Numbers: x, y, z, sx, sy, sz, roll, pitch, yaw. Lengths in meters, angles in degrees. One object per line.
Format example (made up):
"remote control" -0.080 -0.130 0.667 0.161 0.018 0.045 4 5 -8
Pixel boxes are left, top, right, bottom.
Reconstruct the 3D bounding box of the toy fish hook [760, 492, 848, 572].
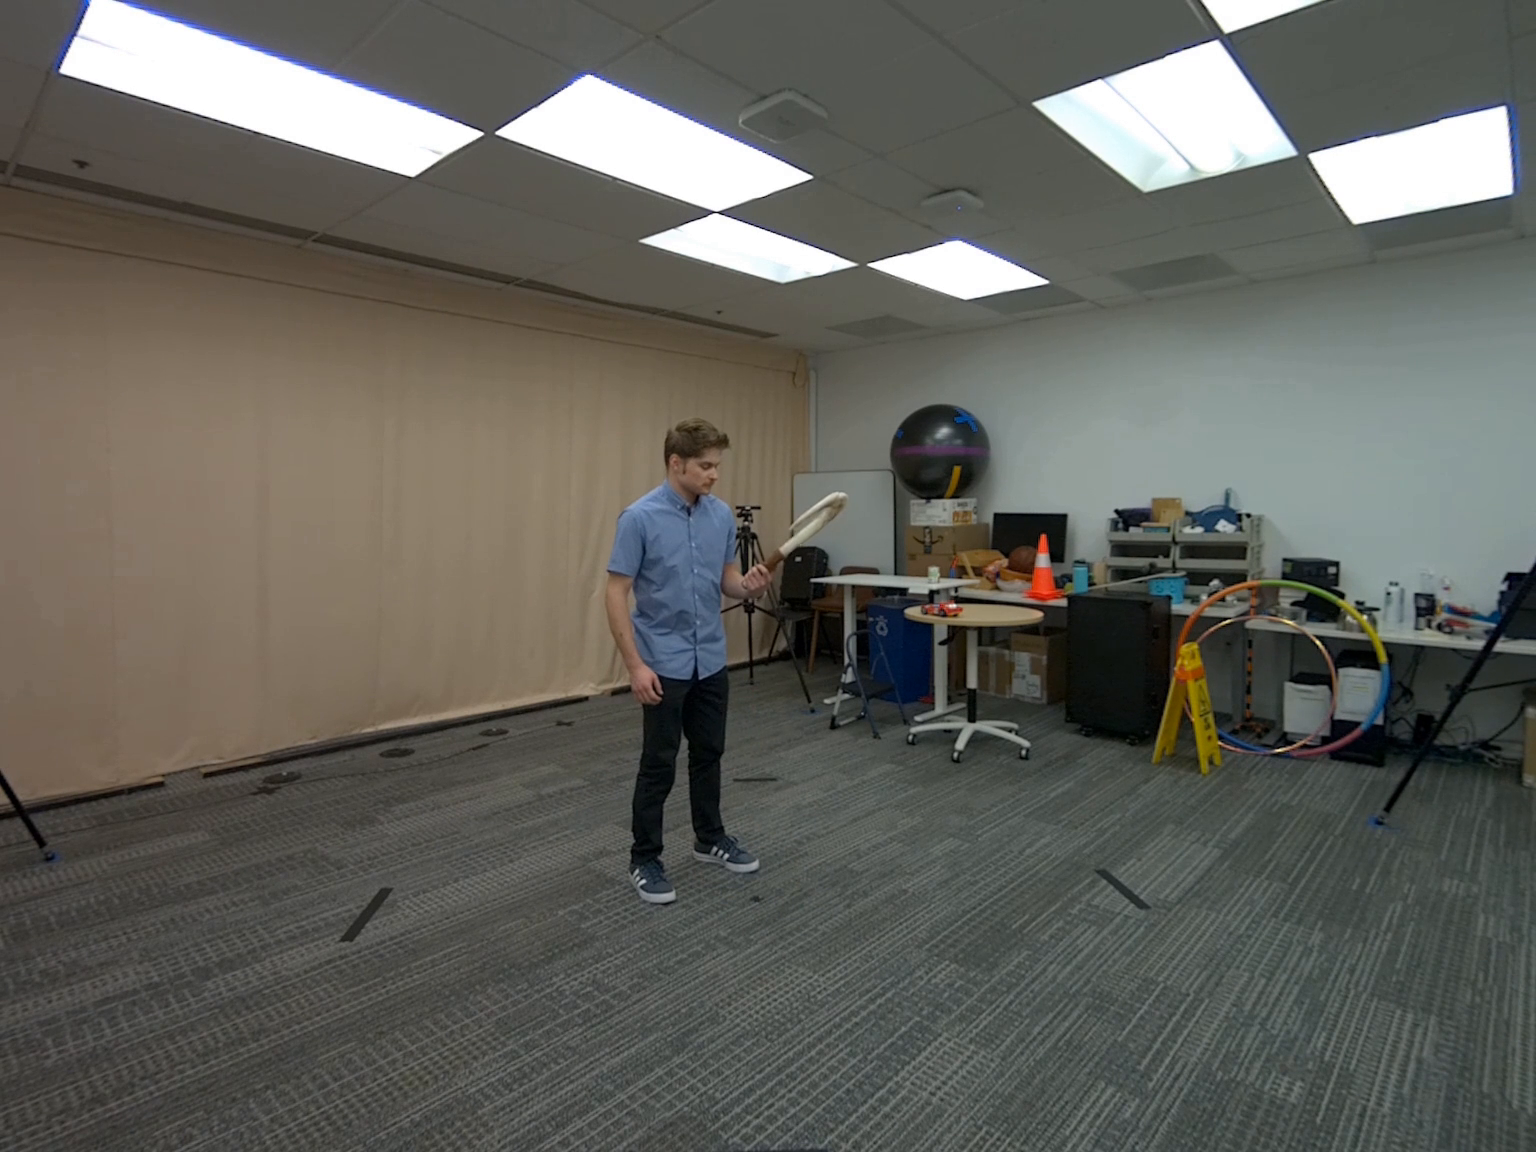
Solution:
"toy fish hook" 0.065 -0.106 2.865 0.510 0.049 0.218 -44 -20 21
